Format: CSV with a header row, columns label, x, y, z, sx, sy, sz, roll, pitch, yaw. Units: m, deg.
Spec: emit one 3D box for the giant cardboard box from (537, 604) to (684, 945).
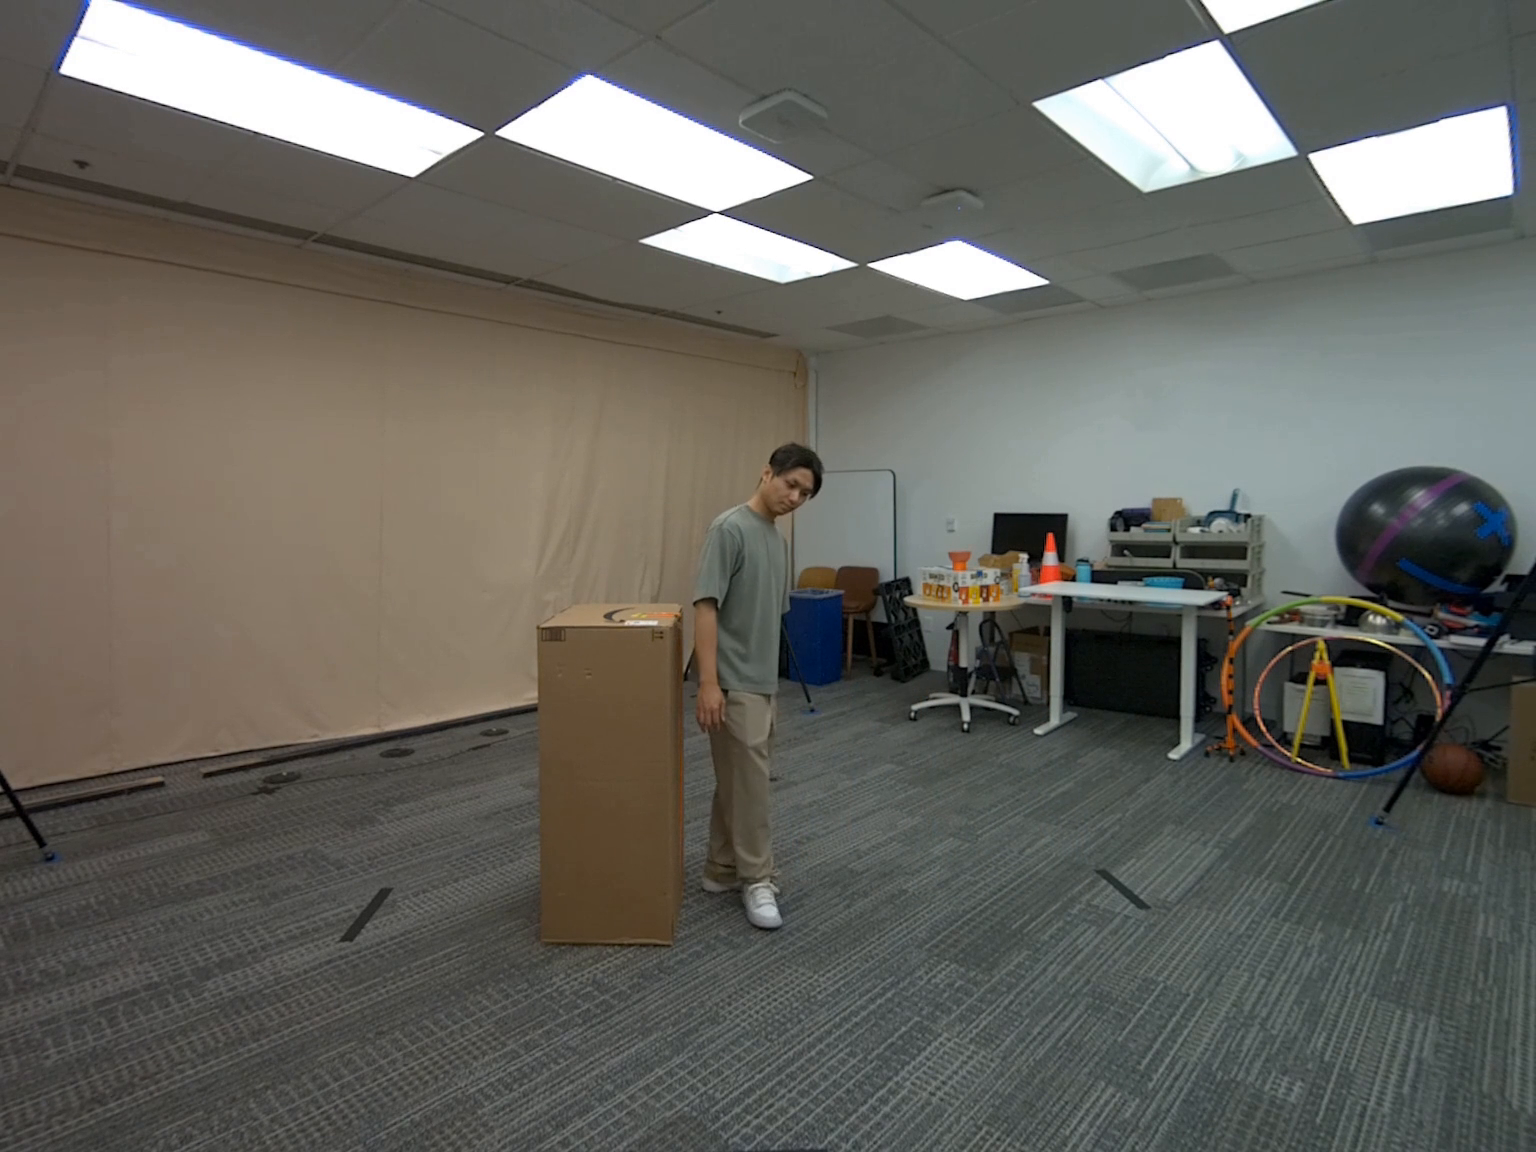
label,x,y,z,sx,sy,sz,roll,pitch,yaw
giant cardboard box,-0.520,0.643,2.933,0.426,1.024,0.578,0,3,-1
